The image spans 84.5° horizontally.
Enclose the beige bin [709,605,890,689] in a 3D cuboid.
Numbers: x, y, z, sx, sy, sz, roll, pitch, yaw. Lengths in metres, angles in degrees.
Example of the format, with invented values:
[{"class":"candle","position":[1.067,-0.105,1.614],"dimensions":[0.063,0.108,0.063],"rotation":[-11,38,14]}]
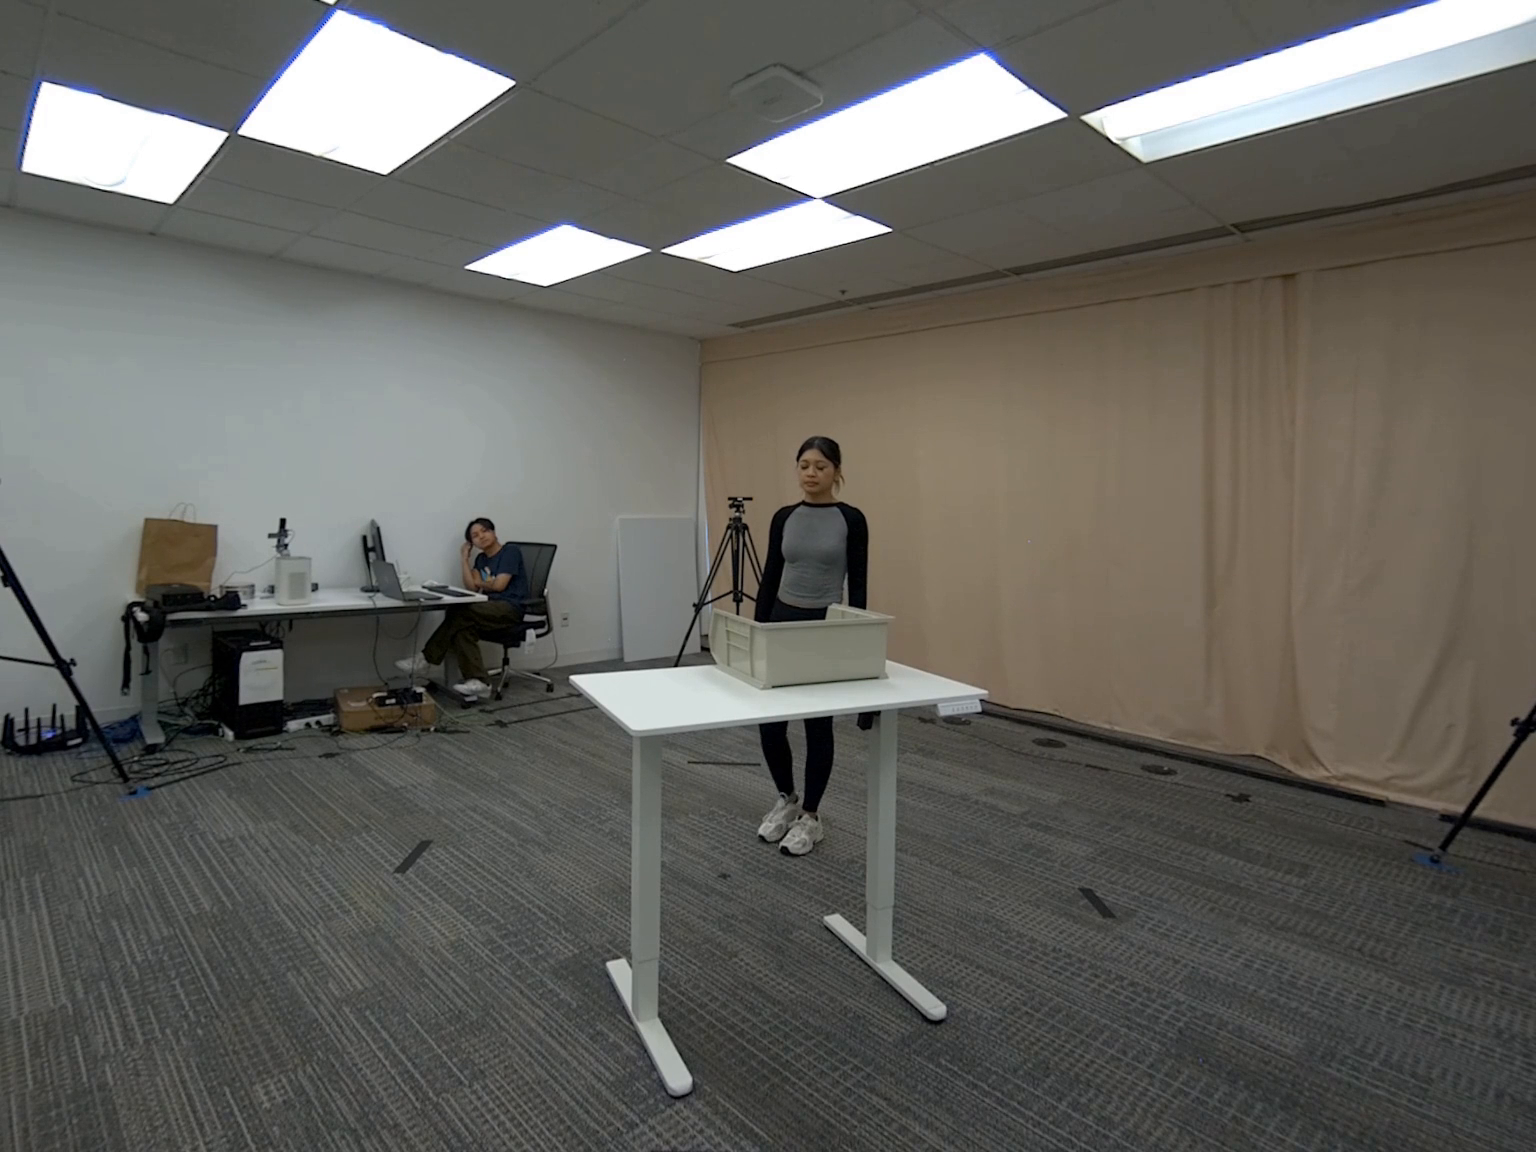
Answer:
[{"class":"beige bin","position":[0.085,0.196,2.498],"dimensions":[0.415,0.188,0.385],"rotation":[-1,6,-25]}]
